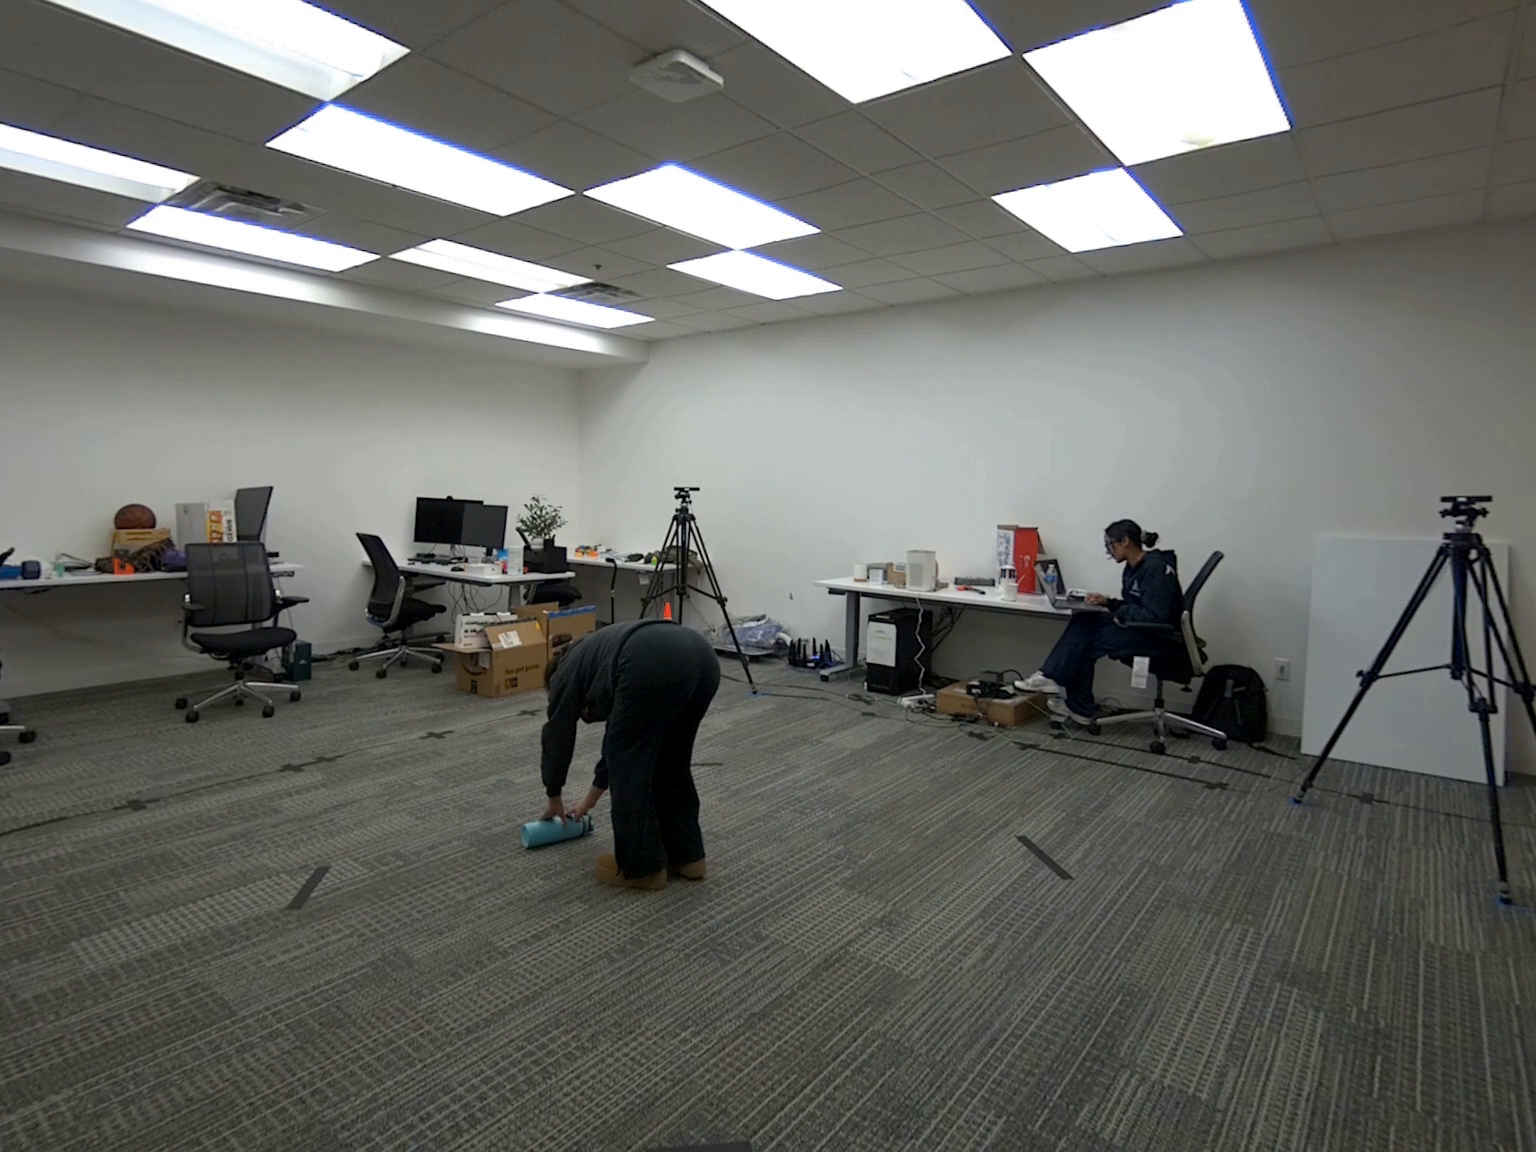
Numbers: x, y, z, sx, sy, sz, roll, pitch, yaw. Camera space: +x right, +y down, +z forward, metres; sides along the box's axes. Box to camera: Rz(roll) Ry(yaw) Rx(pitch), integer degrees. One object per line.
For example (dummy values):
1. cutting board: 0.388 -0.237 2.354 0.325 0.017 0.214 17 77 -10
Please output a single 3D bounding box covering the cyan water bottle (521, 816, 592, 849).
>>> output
1. cyan water bottle: -0.822 0.992 3.334 0.275 0.092 0.095 -3 5 -34
